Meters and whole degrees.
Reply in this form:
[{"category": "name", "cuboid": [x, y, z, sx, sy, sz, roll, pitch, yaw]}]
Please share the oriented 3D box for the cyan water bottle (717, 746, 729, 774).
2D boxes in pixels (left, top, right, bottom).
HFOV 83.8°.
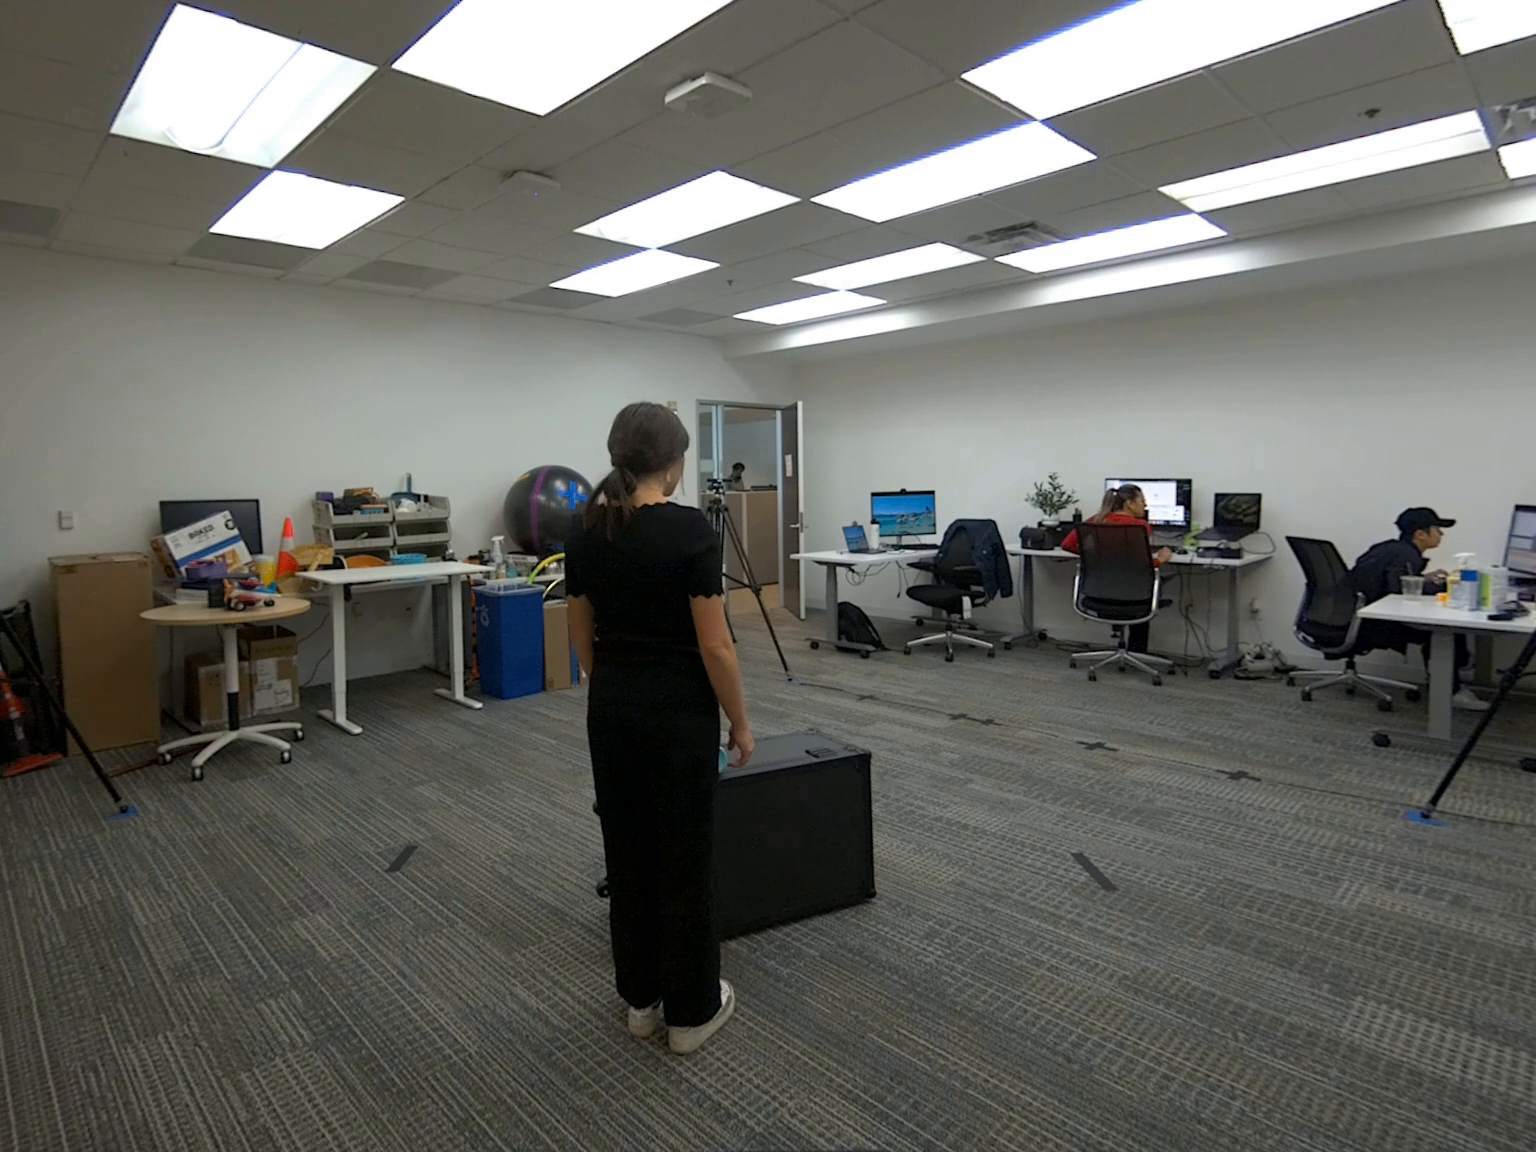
[{"category": "cyan water bottle", "cuboid": [-0.215, 0.556, 2.734, 0.091, 0.092, 0.289, -3, 3, -21]}]
